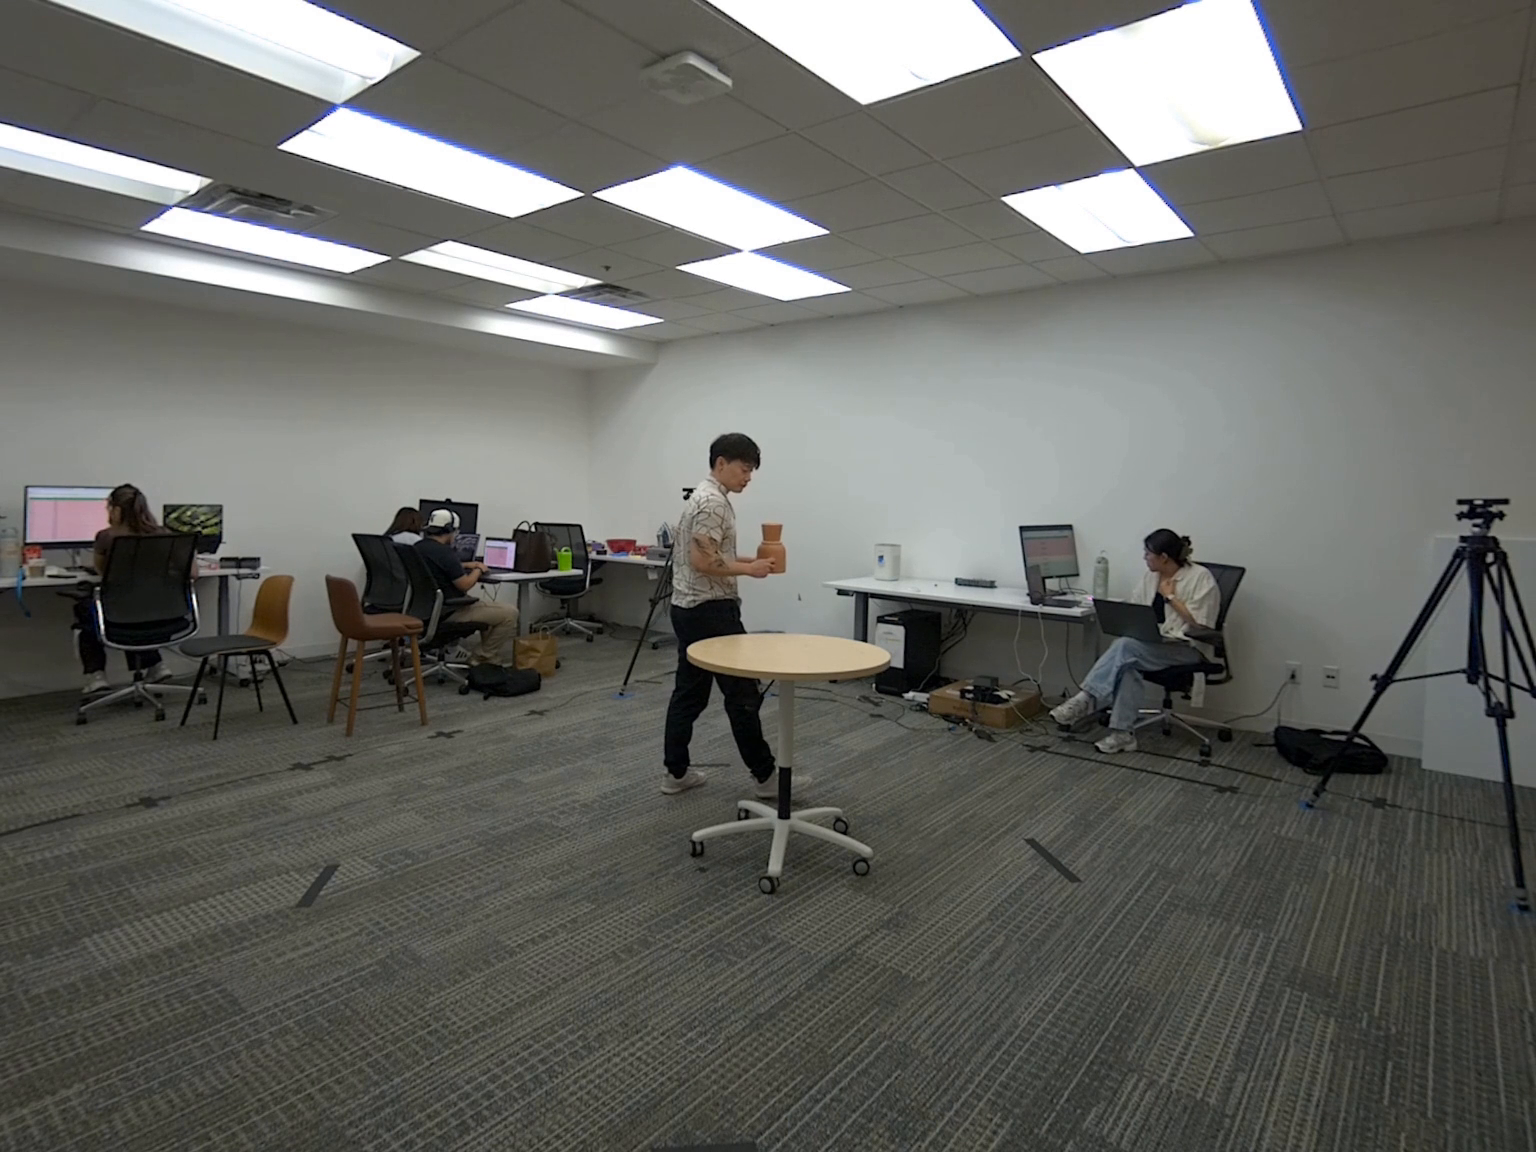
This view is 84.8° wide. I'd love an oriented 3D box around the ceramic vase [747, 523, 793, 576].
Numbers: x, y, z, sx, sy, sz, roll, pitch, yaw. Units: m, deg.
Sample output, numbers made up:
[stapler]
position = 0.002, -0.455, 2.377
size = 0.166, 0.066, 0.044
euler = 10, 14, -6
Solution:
[ceramic vase]
position = 0.007, -0.128, 3.868
size = 0.131, 0.219, 0.164
euler = -5, 6, -32
